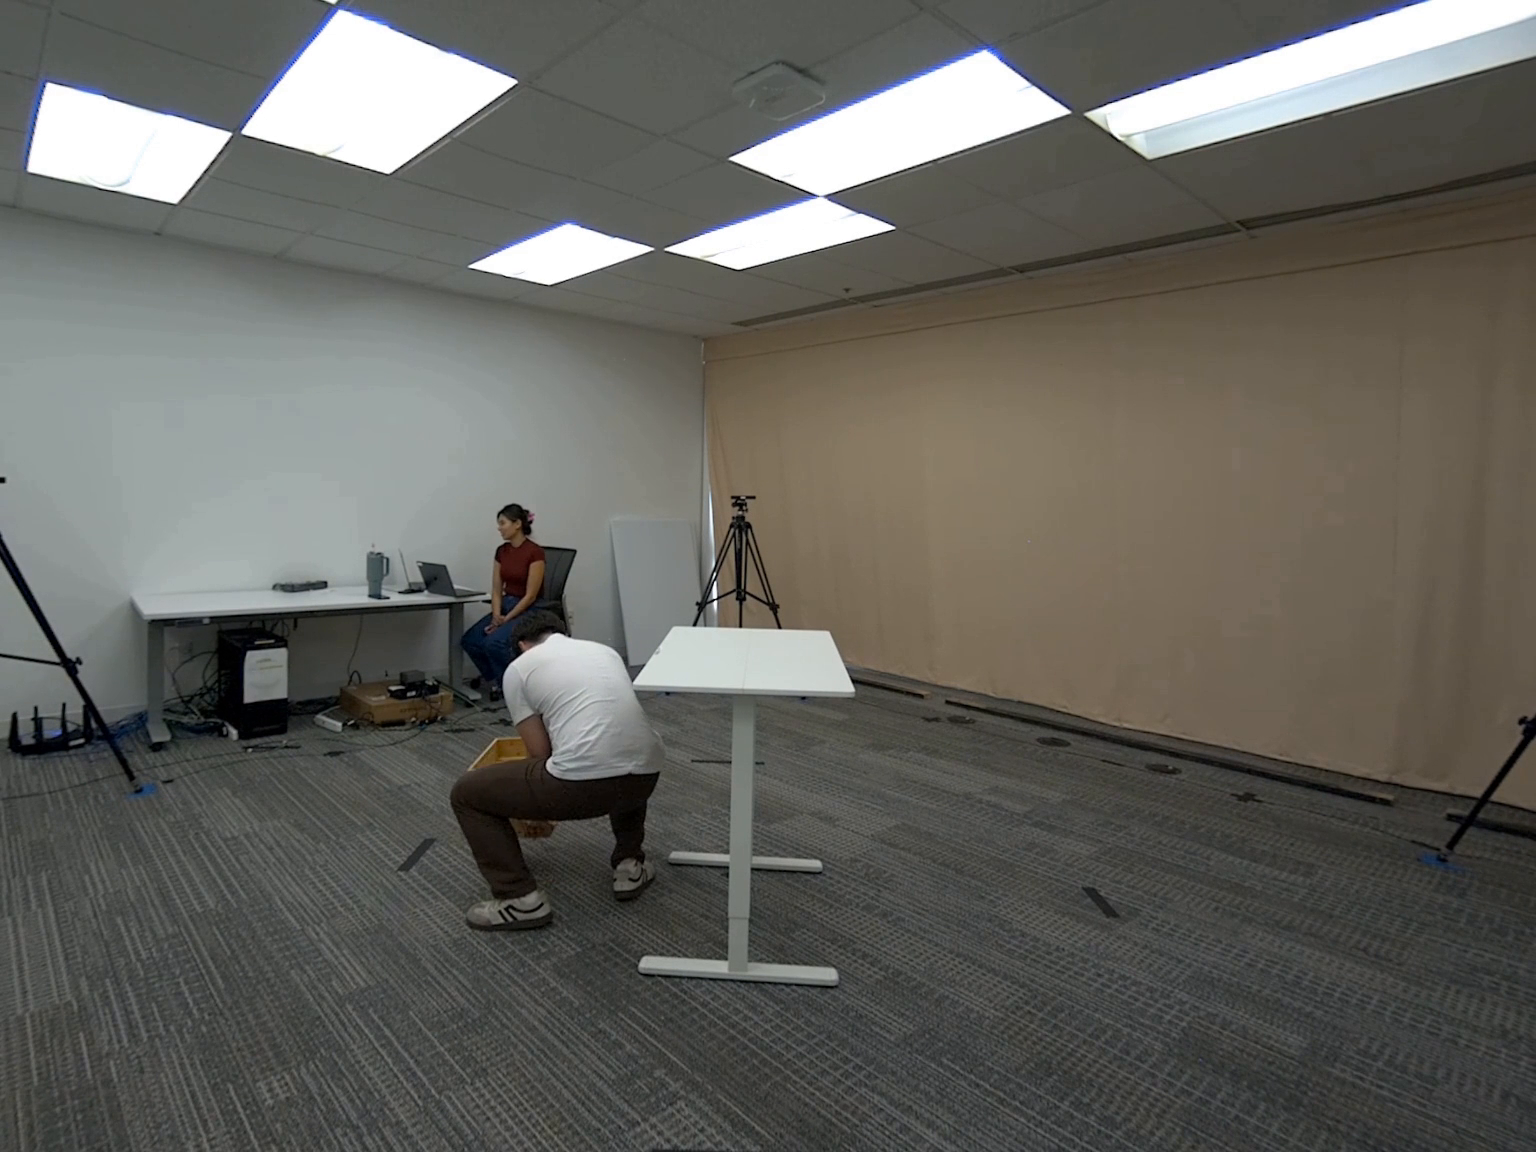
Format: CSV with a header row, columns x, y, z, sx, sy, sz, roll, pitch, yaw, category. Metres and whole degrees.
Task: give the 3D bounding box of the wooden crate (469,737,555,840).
x,y,z,sx,sy,sz,roll,pitch,yaw,category
-0.908,0.783,3.143,0.303,0.271,0.326,-2,10,3,wooden crate
